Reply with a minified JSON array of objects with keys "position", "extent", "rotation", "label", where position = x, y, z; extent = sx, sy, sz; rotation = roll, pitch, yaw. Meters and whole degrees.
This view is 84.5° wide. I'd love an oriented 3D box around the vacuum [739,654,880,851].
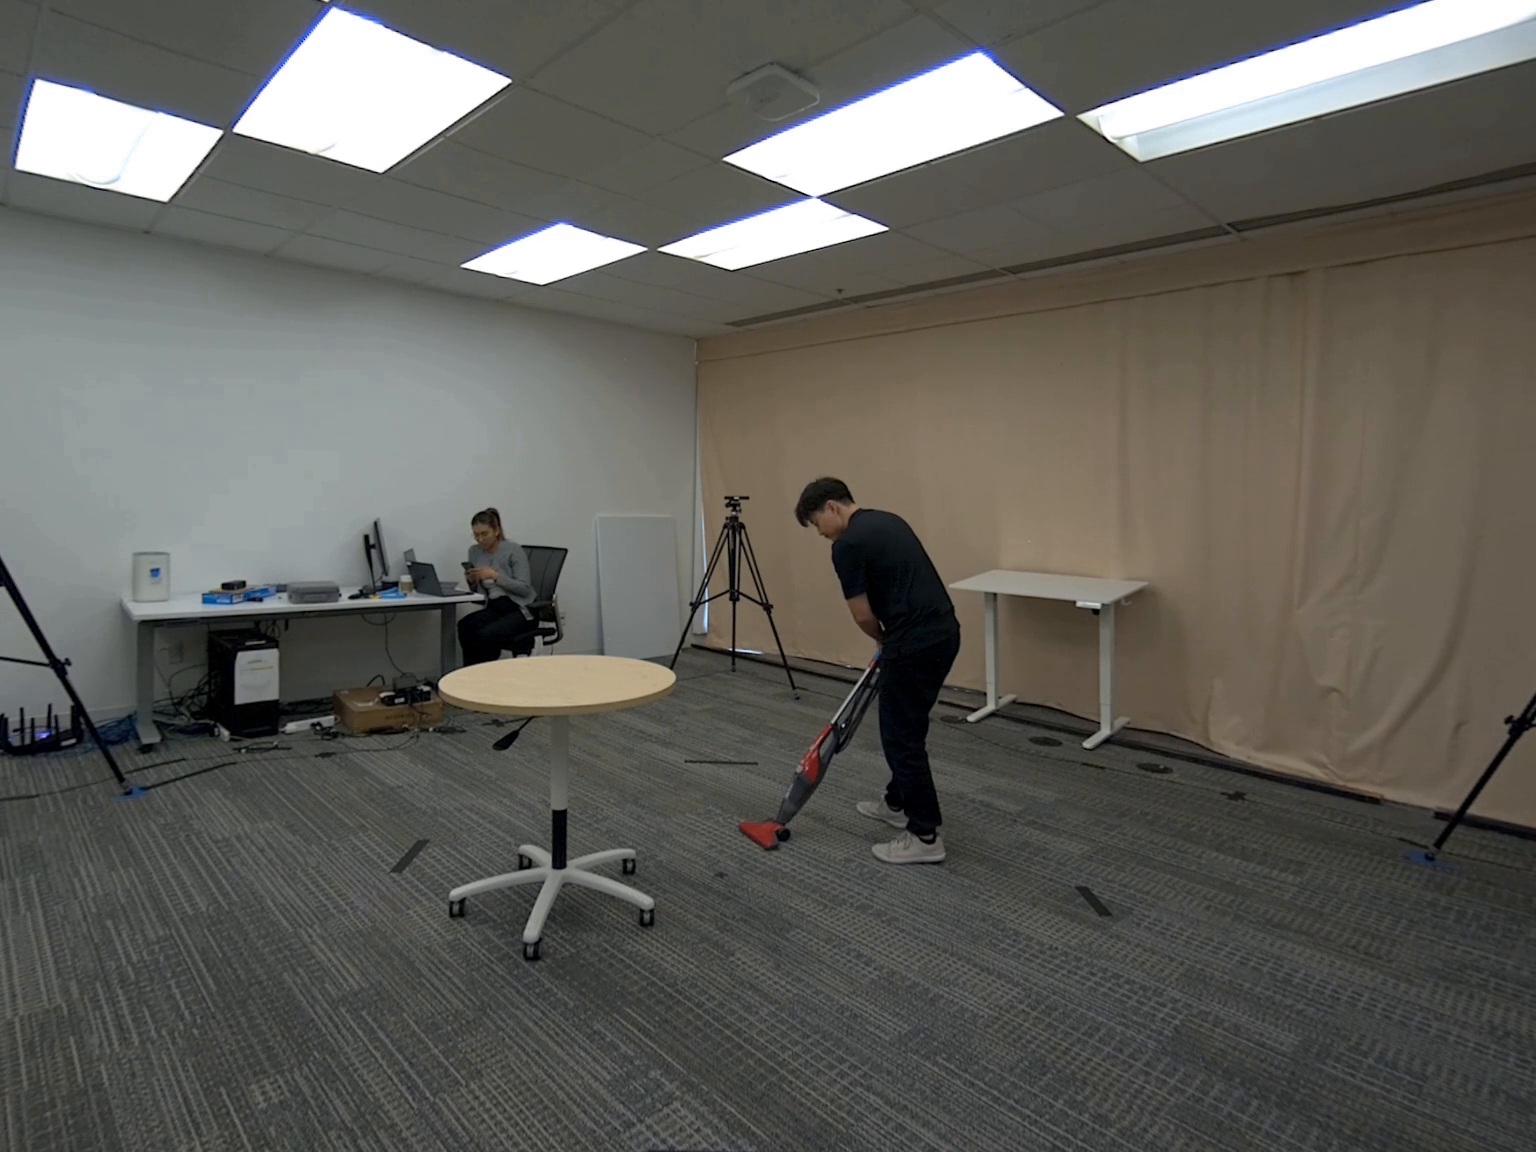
[{"position":[0.274,0.667,3.586],"extent":[0.141,1.050,0.257],"rotation":[45,-17,-22],"label":"vacuum"}]
